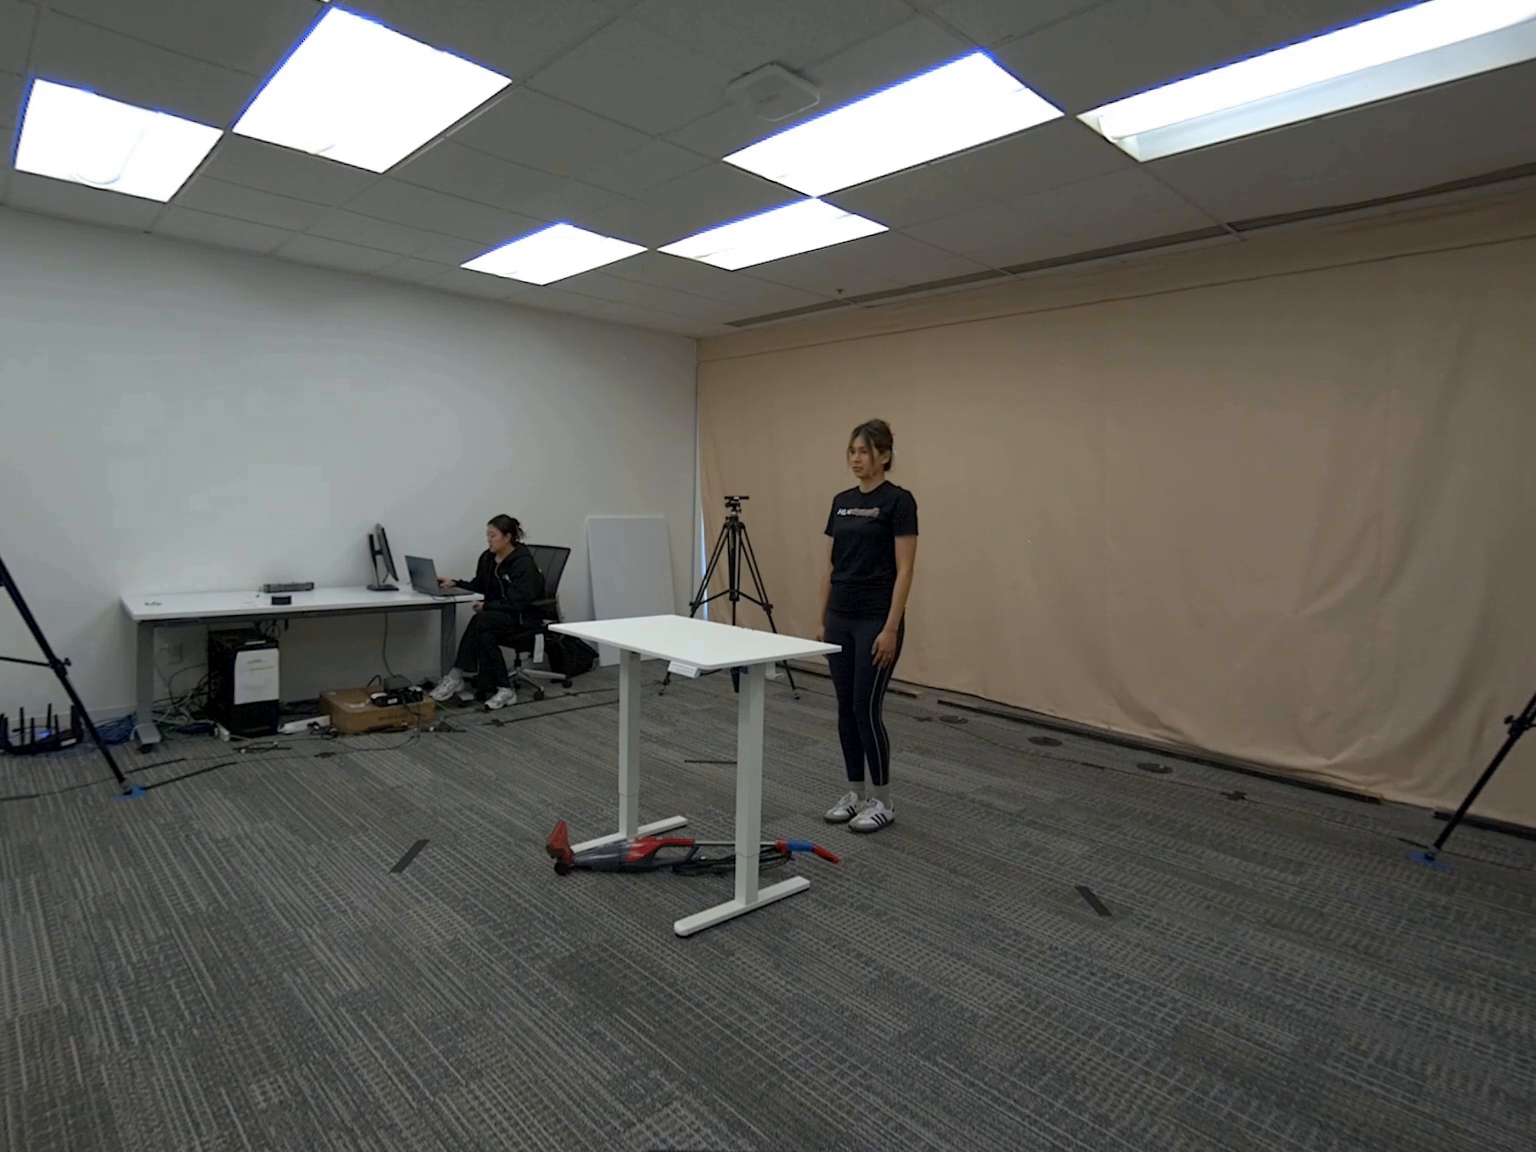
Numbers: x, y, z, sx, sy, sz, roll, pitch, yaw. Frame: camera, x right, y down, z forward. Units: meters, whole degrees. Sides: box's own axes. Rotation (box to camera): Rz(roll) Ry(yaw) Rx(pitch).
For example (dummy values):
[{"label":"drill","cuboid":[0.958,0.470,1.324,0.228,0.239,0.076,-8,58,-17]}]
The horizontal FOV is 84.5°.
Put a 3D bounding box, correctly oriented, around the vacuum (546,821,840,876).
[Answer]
[{"label":"vacuum","cuboid":[-0.269,1.032,3.125,1.048,0.144,0.253,3,3,-1]}]
